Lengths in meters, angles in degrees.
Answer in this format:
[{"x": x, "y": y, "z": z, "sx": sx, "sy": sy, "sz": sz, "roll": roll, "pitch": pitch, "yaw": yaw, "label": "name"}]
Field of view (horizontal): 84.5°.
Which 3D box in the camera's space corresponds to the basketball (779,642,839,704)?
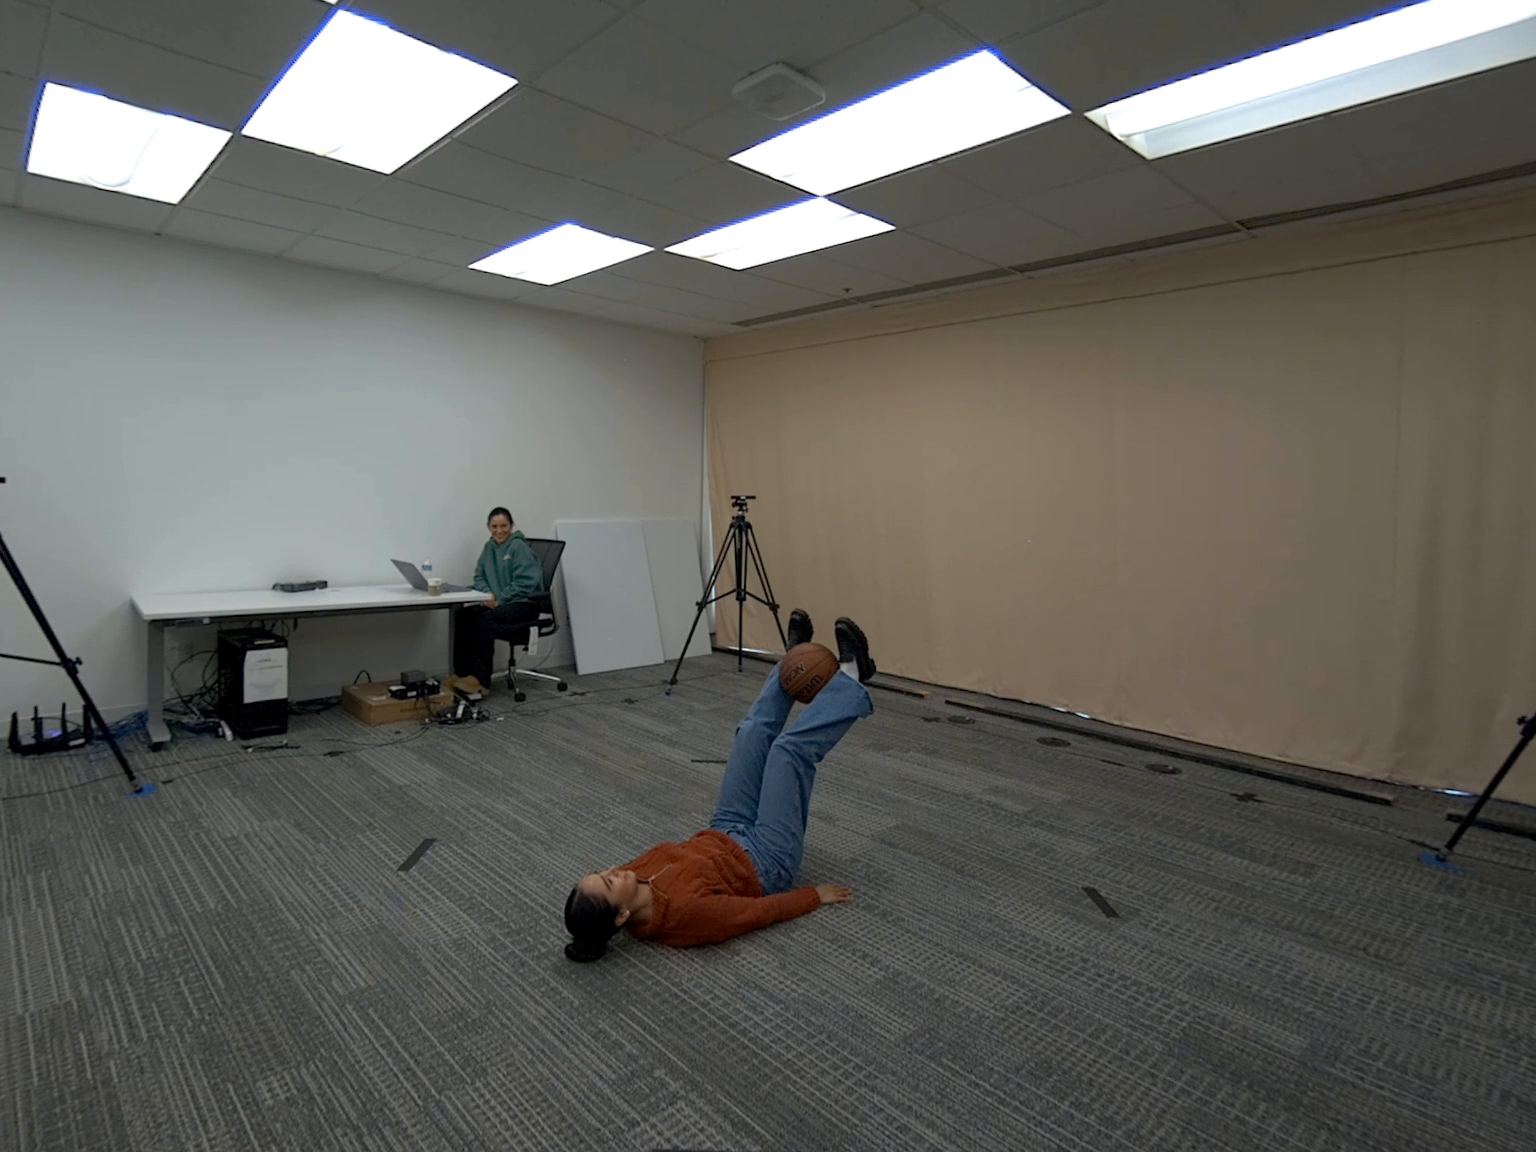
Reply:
[{"x": 0.162, "y": 0.382, "z": 3.251, "sx": 0.236, "sy": 0.235, "sz": 0.237, "roll": 1, "pitch": 4, "yaw": -1, "label": "basketball"}]
